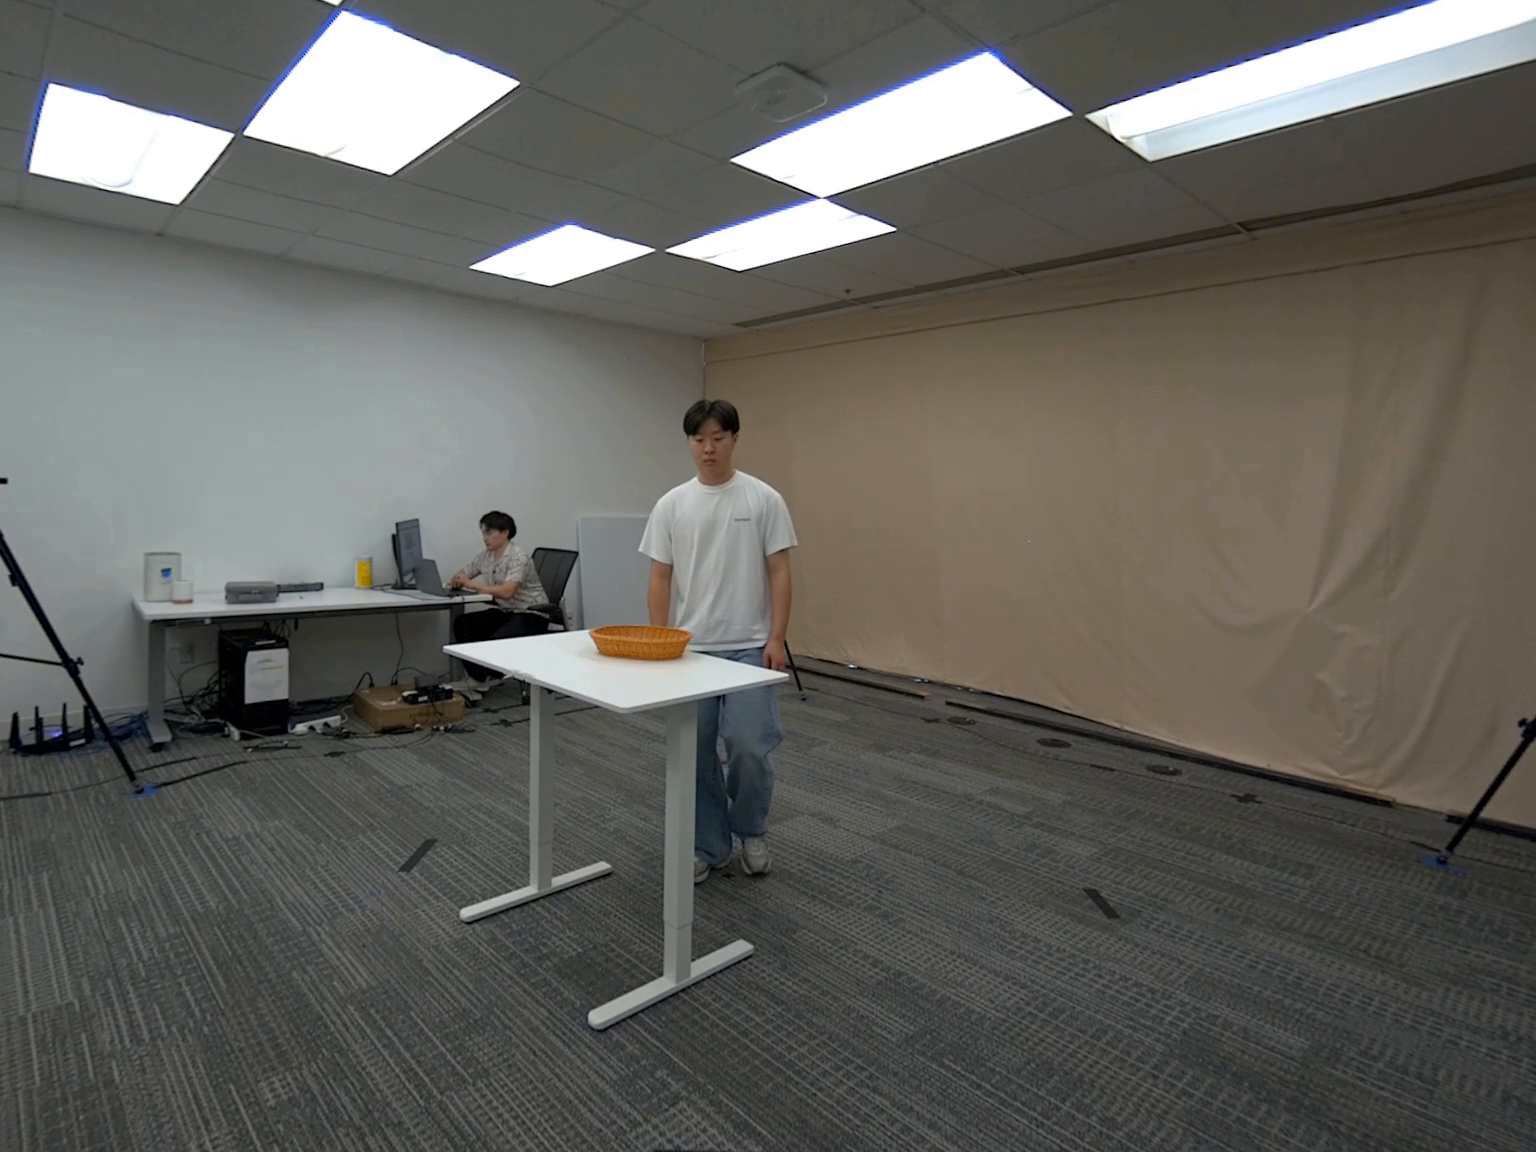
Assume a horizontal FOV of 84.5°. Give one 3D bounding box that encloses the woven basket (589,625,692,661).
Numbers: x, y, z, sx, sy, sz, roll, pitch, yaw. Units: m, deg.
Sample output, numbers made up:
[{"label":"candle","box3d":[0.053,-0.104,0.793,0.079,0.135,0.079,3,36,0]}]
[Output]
[{"label":"woven basket","box3d":[-0.430,0.222,2.704,0.357,0.073,0.248,4,6,25]}]
